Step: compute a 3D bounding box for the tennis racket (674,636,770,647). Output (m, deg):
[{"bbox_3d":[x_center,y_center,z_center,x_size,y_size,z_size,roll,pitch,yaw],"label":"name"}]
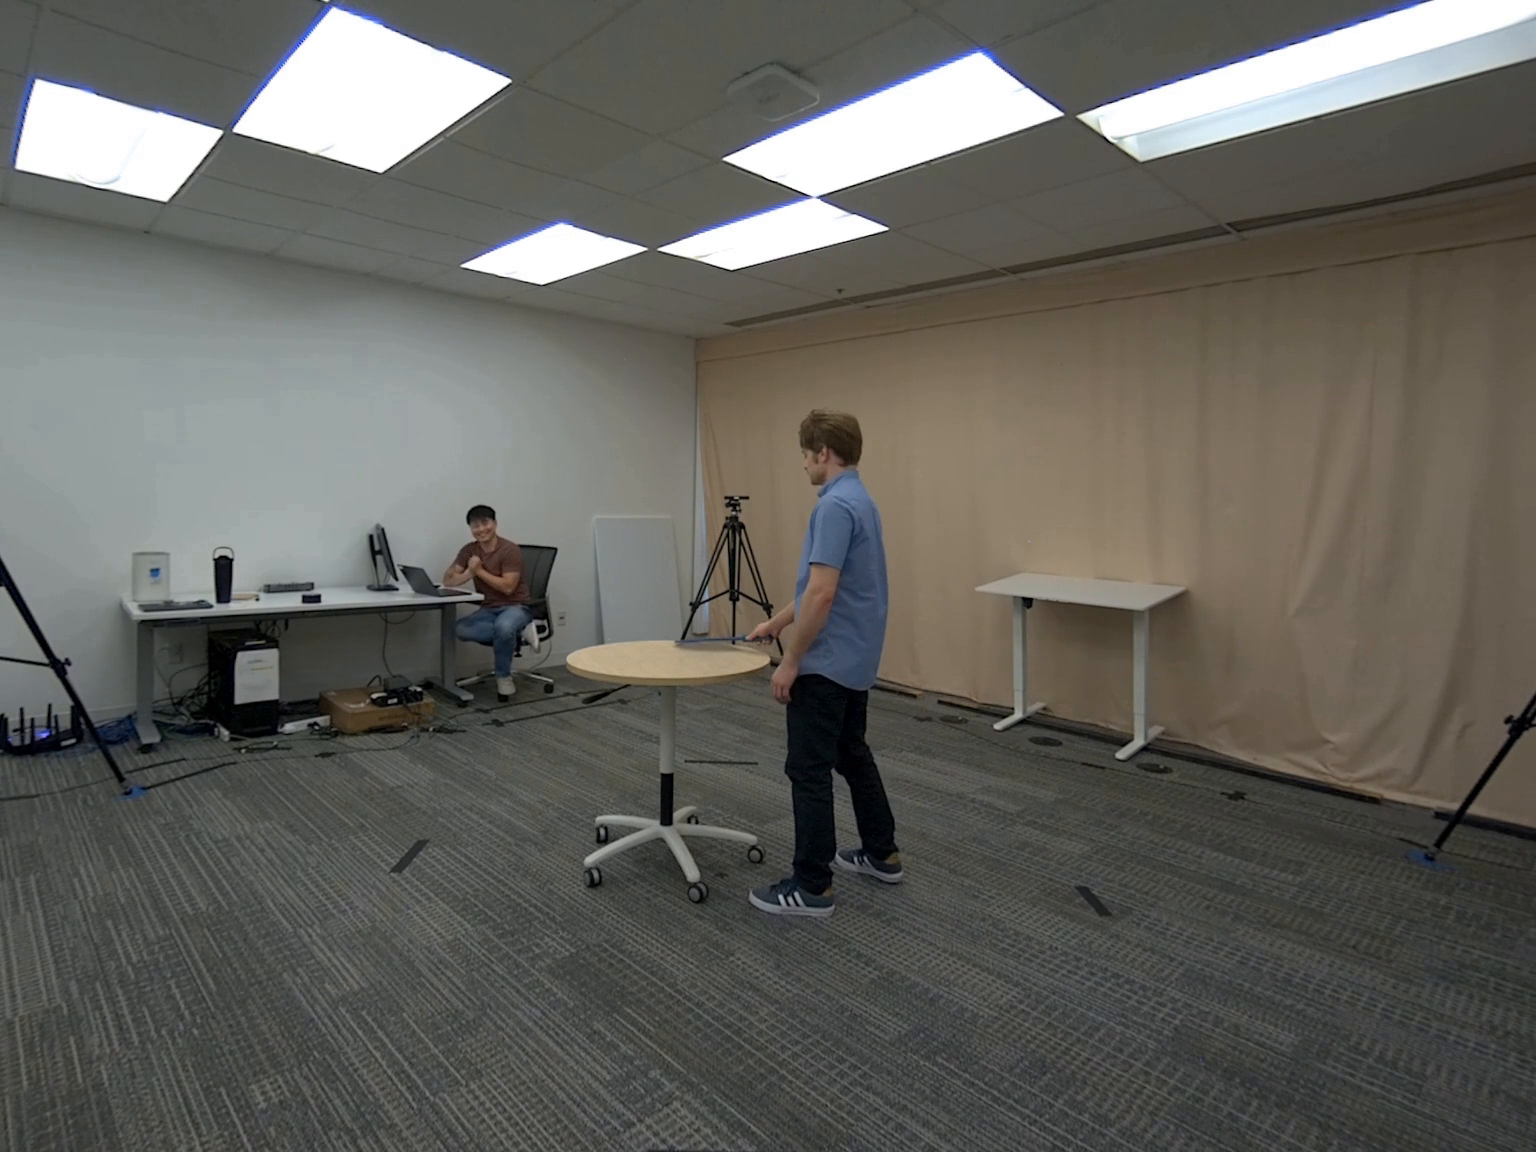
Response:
[{"bbox_3d":[-0.192,0.252,3.389,0.441,0.032,0.209,-5,-5,28],"label":"tennis racket"}]
